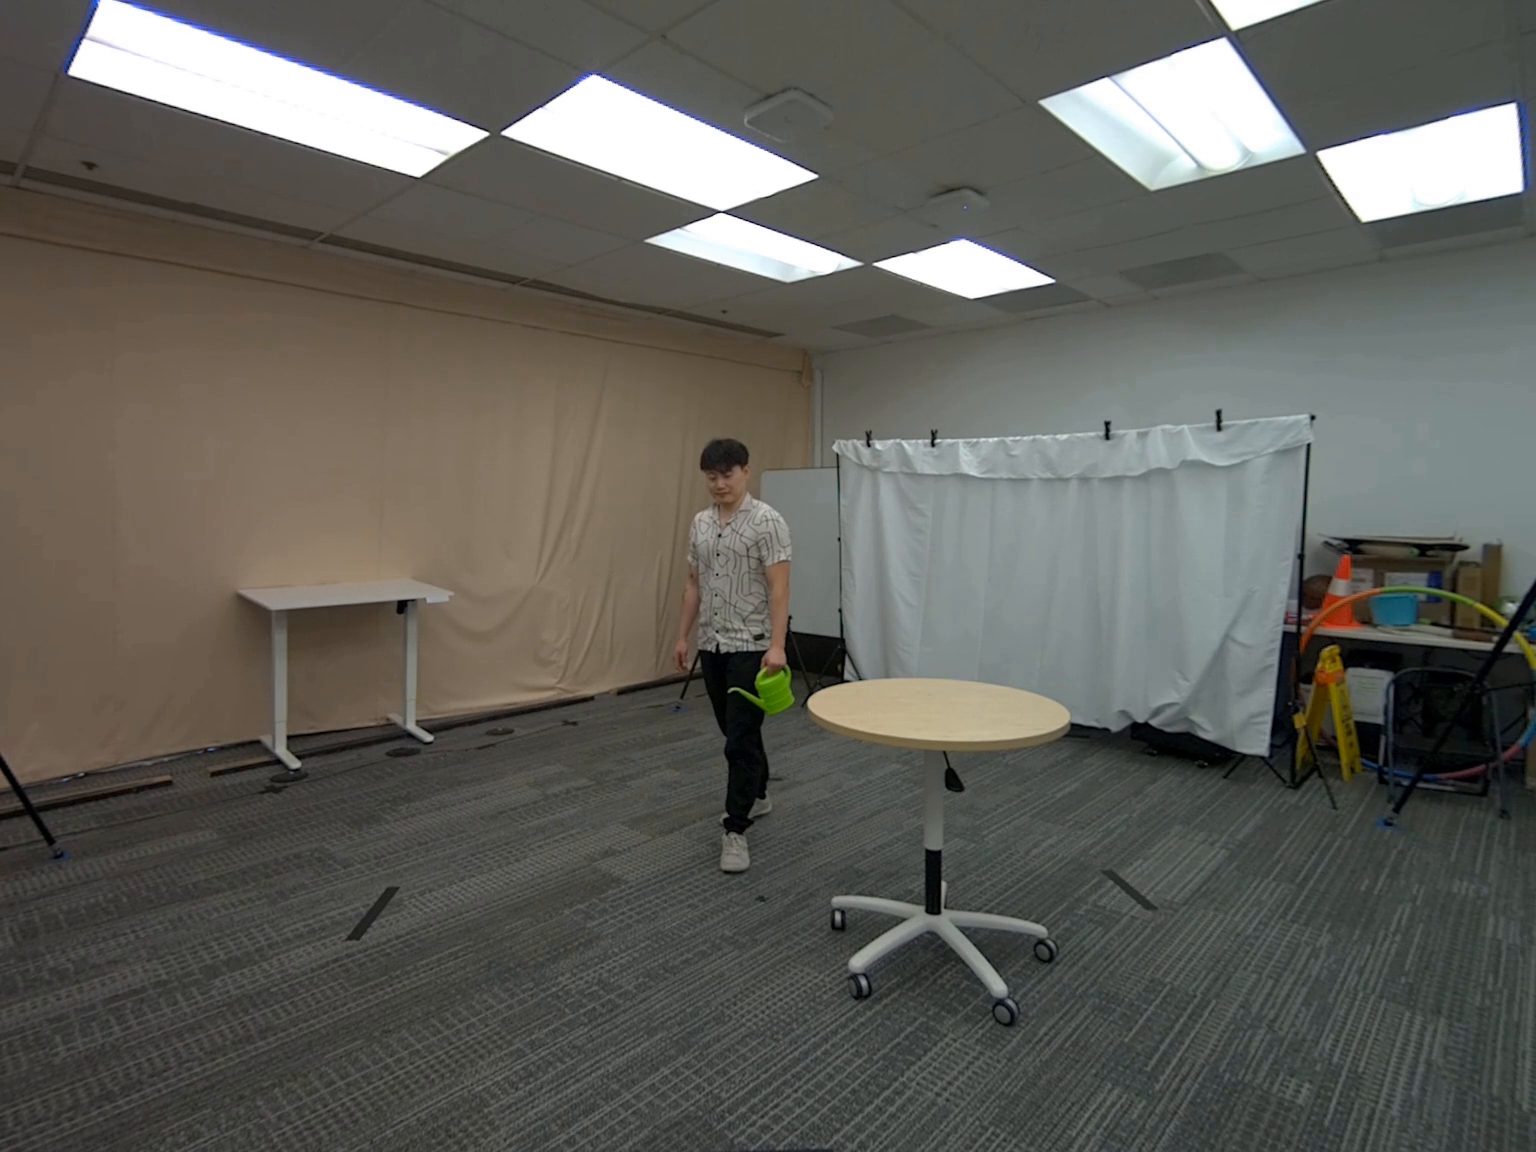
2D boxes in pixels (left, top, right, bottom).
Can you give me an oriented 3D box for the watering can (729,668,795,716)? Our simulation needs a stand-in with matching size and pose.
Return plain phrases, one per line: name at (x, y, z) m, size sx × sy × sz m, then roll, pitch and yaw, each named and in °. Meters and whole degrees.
watering can at (-0.023, 0.441, 3.237) m, size 0.274 × 0.175 × 0.100 m, roll -22°, pitch 14°, yaw -18°
